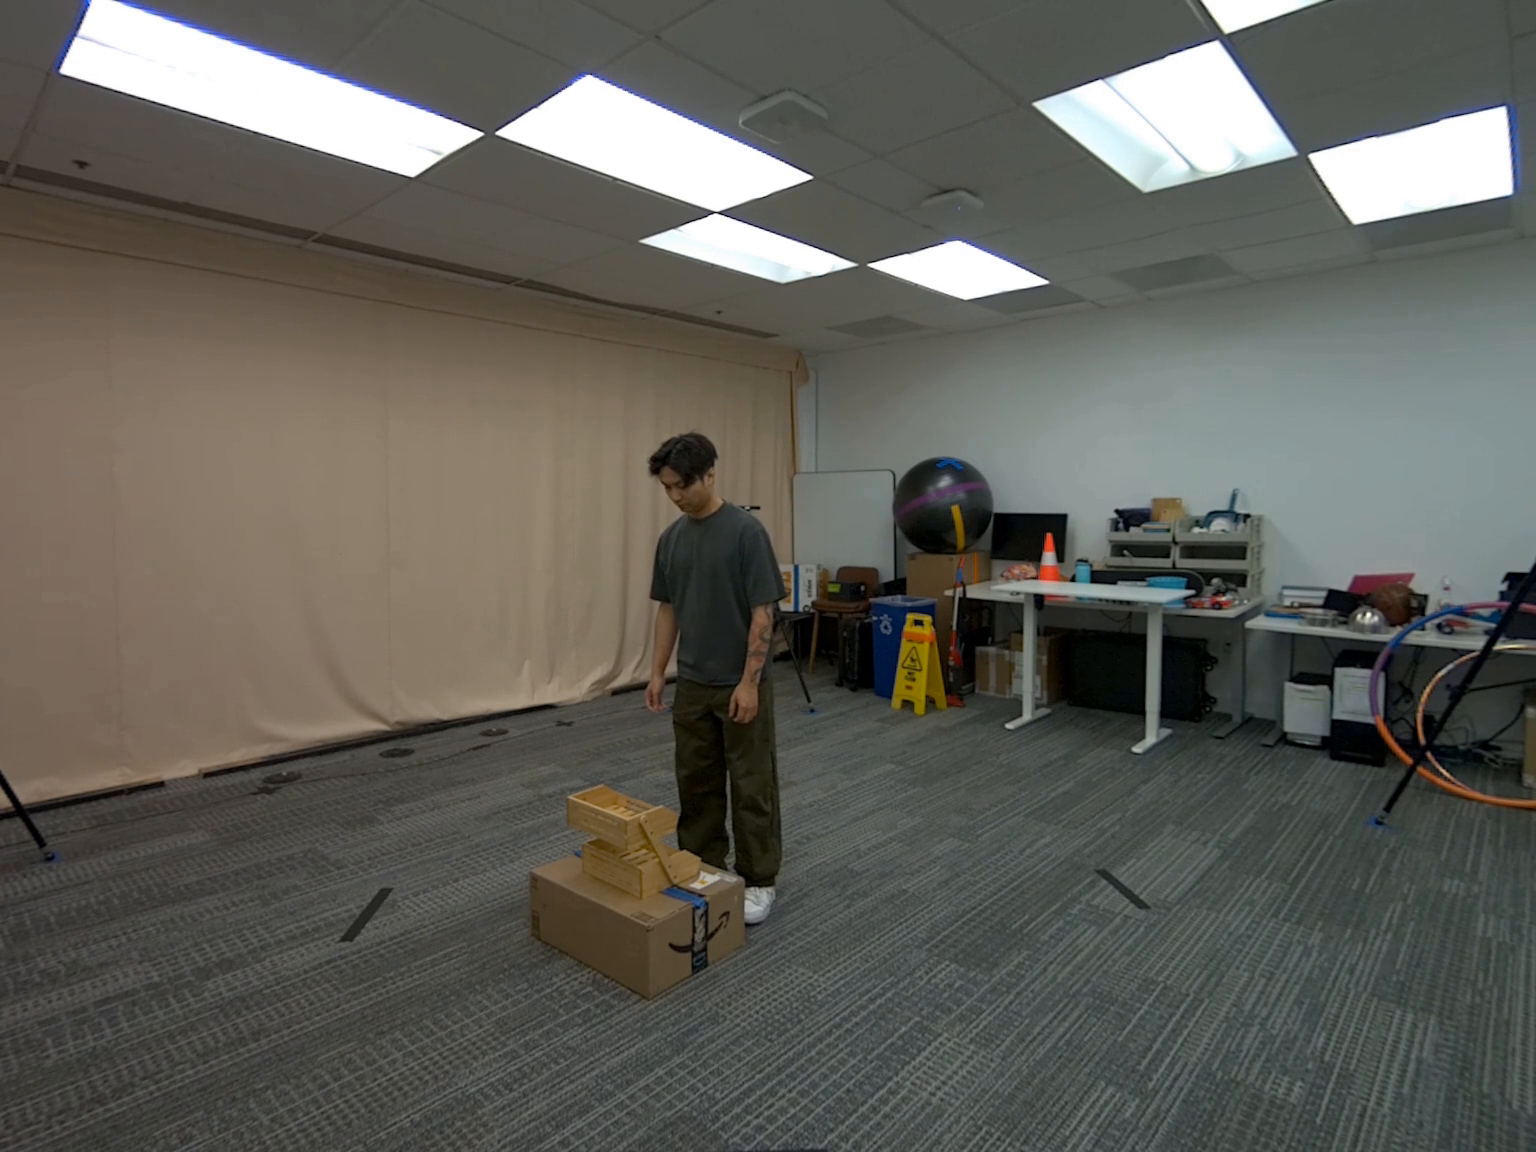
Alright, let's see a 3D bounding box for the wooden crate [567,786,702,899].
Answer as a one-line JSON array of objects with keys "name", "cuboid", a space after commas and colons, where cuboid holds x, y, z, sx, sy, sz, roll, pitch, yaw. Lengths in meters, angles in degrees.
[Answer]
[{"name": "wooden crate", "cuboid": [-0.429, 0.824, 2.698, 0.335, 0.272, 0.293, 2, 6, 42]}]
